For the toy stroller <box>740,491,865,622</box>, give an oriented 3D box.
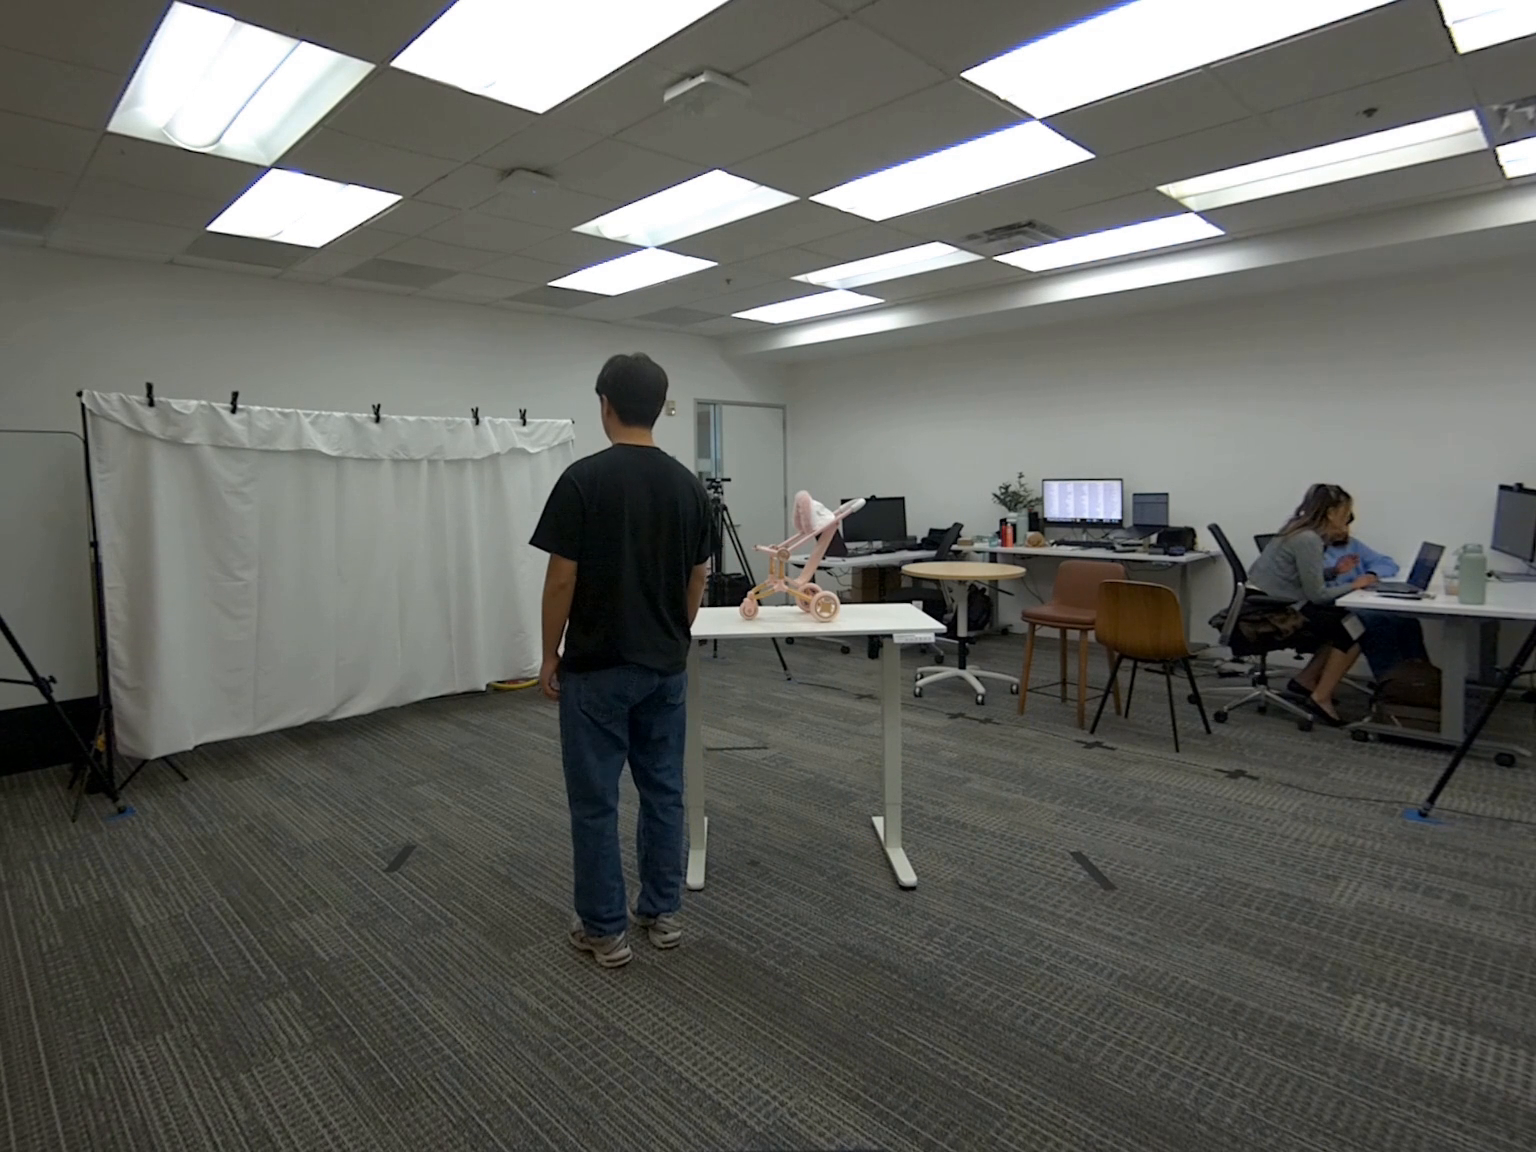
[{"bbox_3d":[0.117,-0.069,3.118,0.340,0.534,0.283,14,3,-5],"label":"toy stroller"}]
